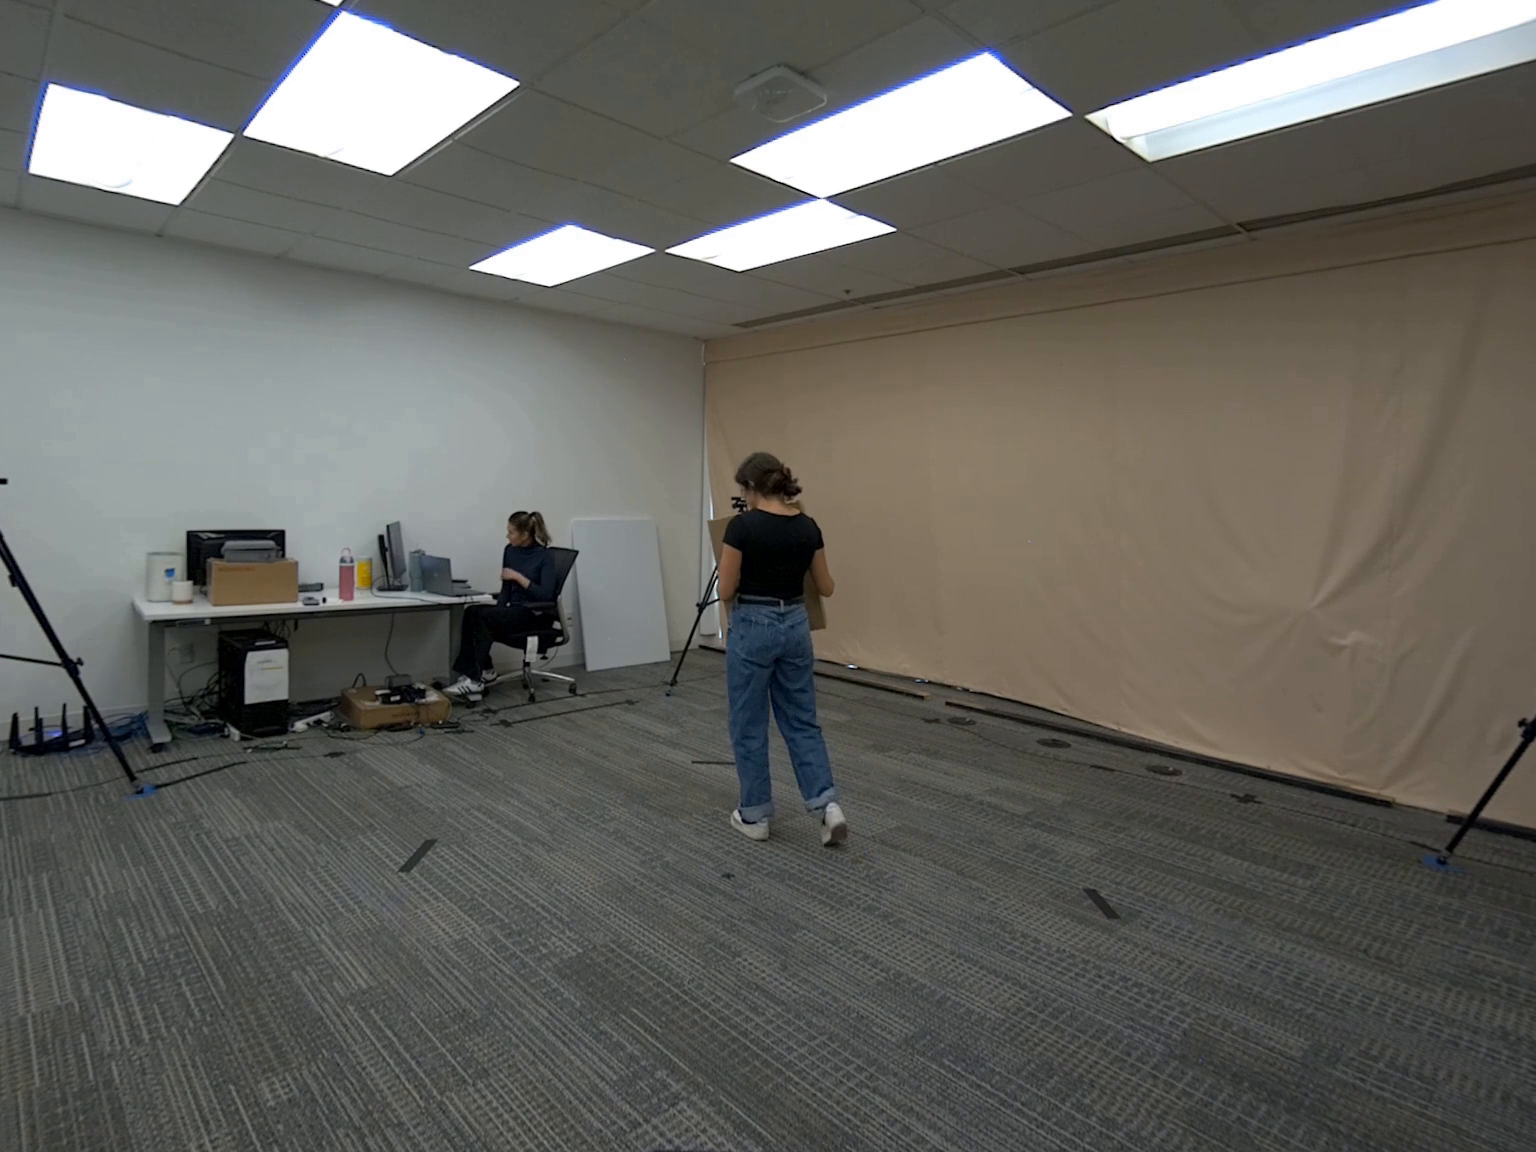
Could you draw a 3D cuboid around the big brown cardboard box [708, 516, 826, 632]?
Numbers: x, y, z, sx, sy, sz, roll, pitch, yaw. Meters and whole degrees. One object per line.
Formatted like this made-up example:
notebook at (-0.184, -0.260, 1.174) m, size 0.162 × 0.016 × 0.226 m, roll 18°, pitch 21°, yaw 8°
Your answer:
big brown cardboard box at (-0.003, -0.025, 3.753) m, size 0.420 × 0.589 × 0.231 m, roll -11°, pitch -1°, yaw 11°
